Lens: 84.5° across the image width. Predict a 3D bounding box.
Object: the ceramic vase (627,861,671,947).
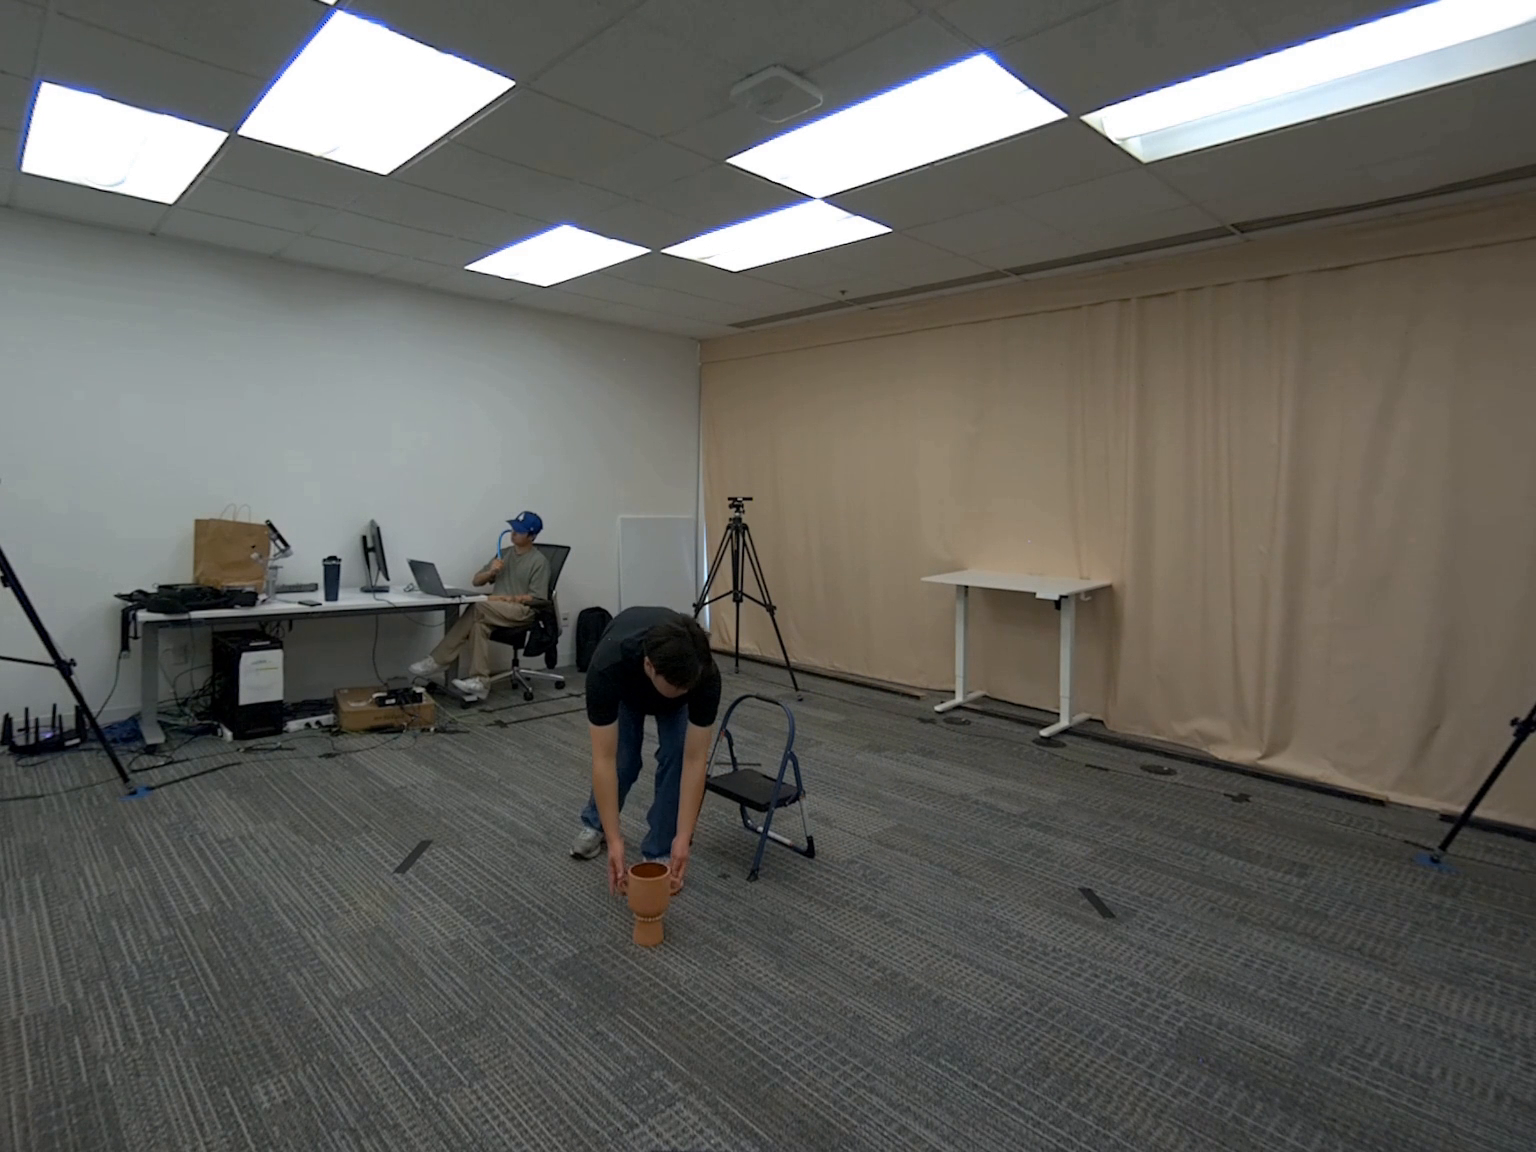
[{"bbox_3d":[-0.391,1.036,2.647,0.162,0.219,0.132,3,3,34],"label":"ceramic vase"}]
